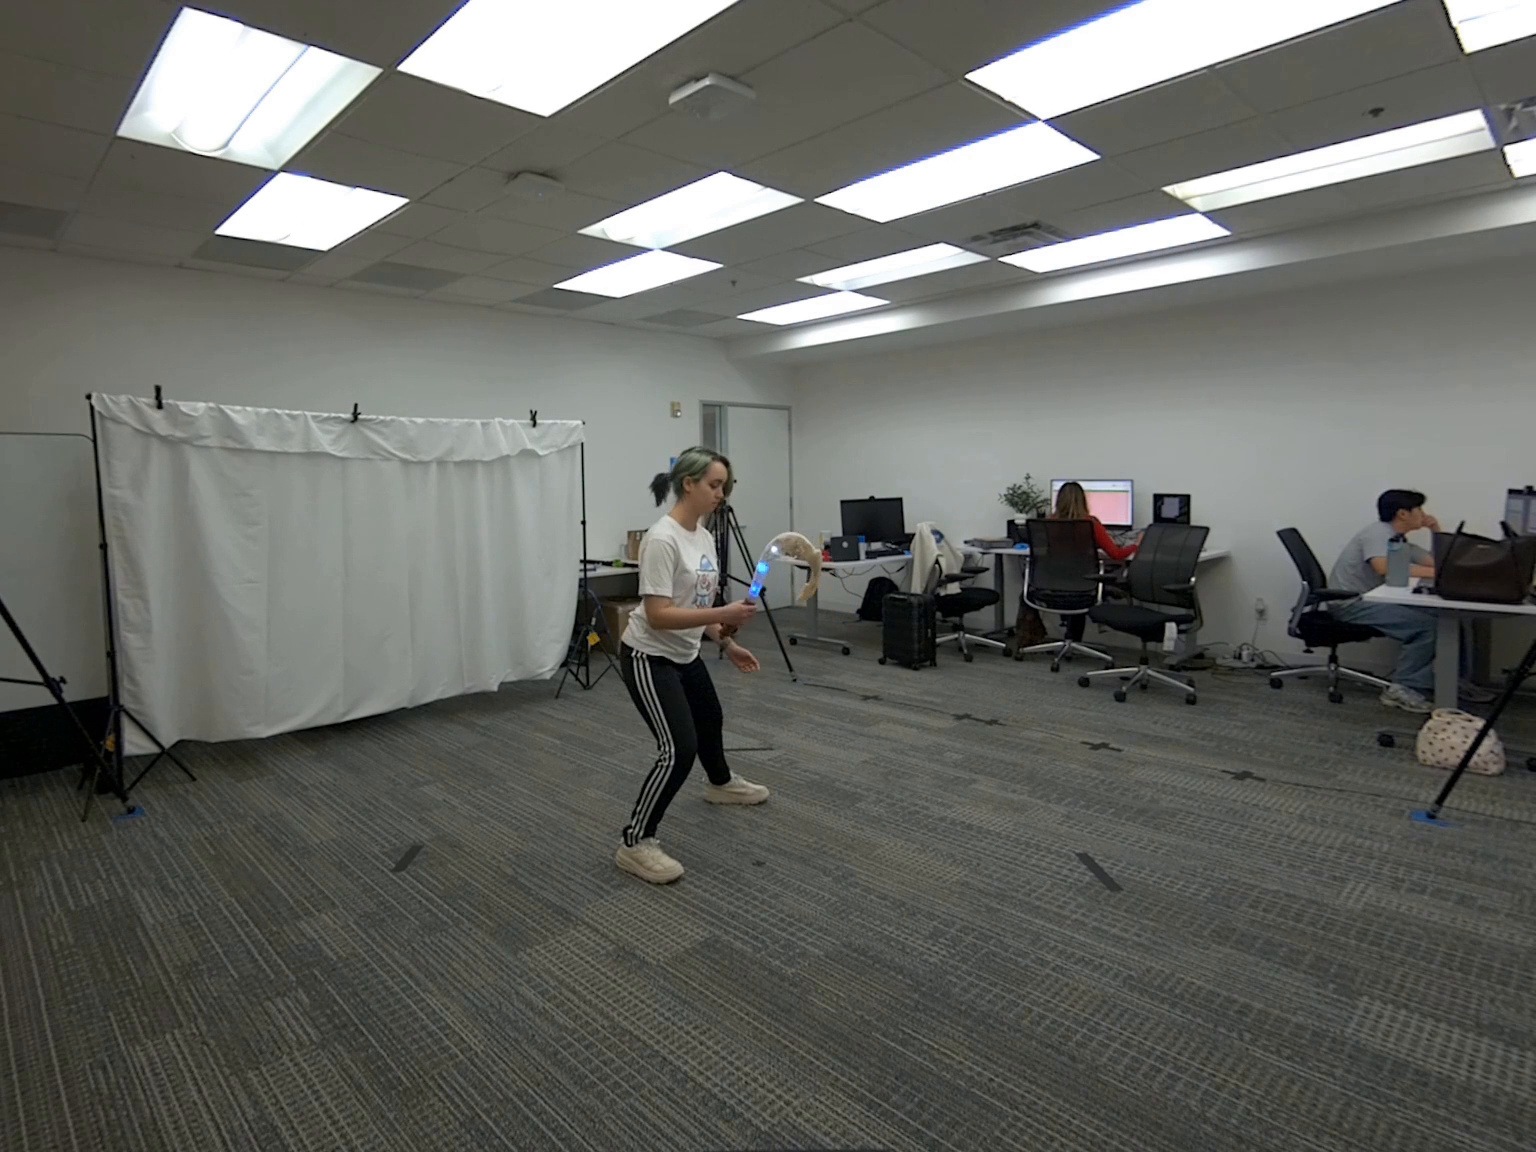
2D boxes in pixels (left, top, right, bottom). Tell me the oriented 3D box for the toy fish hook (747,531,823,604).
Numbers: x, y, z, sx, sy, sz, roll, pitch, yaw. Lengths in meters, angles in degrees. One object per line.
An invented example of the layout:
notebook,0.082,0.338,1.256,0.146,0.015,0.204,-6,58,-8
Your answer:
toy fish hook,0.012,0.079,2.962,0.230,0.505,0.047,45,25,18
